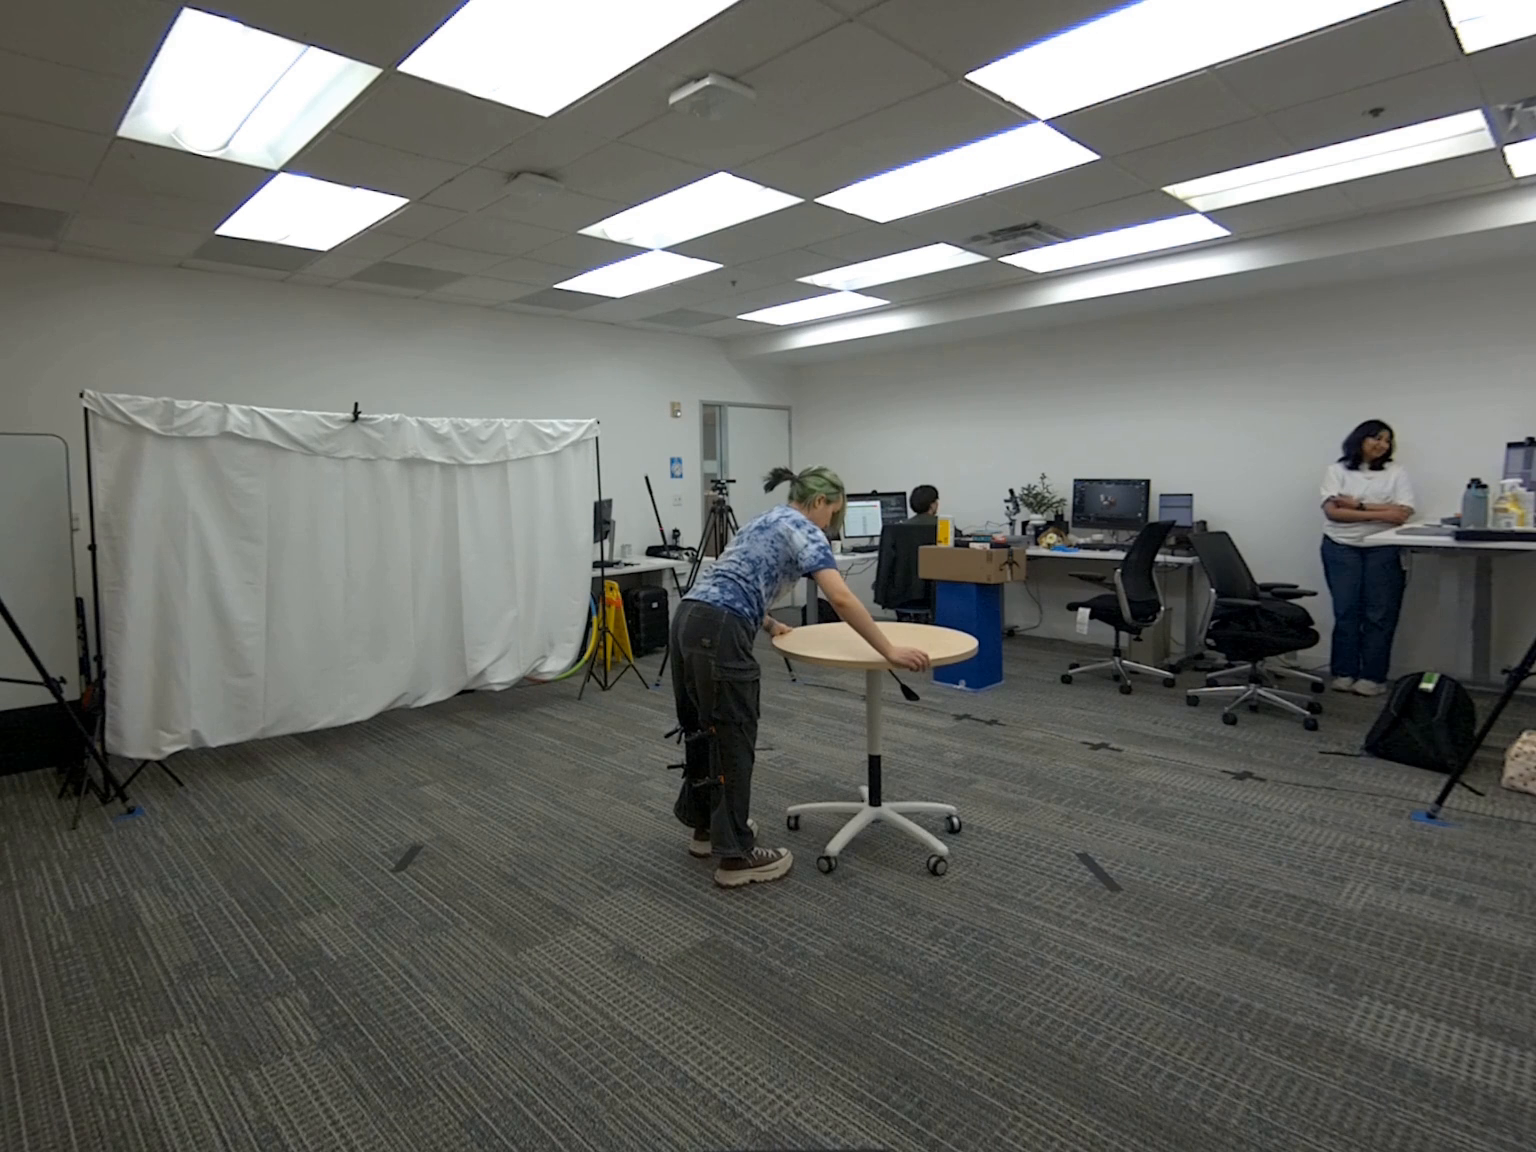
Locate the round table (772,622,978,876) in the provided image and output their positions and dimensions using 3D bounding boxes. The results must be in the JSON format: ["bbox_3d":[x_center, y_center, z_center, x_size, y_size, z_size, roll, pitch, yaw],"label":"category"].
[{"bbox_3d":[0.405,0.632,3.264,0.763,0.791,0.768,-1,5,-2],"label":"round table"}]
